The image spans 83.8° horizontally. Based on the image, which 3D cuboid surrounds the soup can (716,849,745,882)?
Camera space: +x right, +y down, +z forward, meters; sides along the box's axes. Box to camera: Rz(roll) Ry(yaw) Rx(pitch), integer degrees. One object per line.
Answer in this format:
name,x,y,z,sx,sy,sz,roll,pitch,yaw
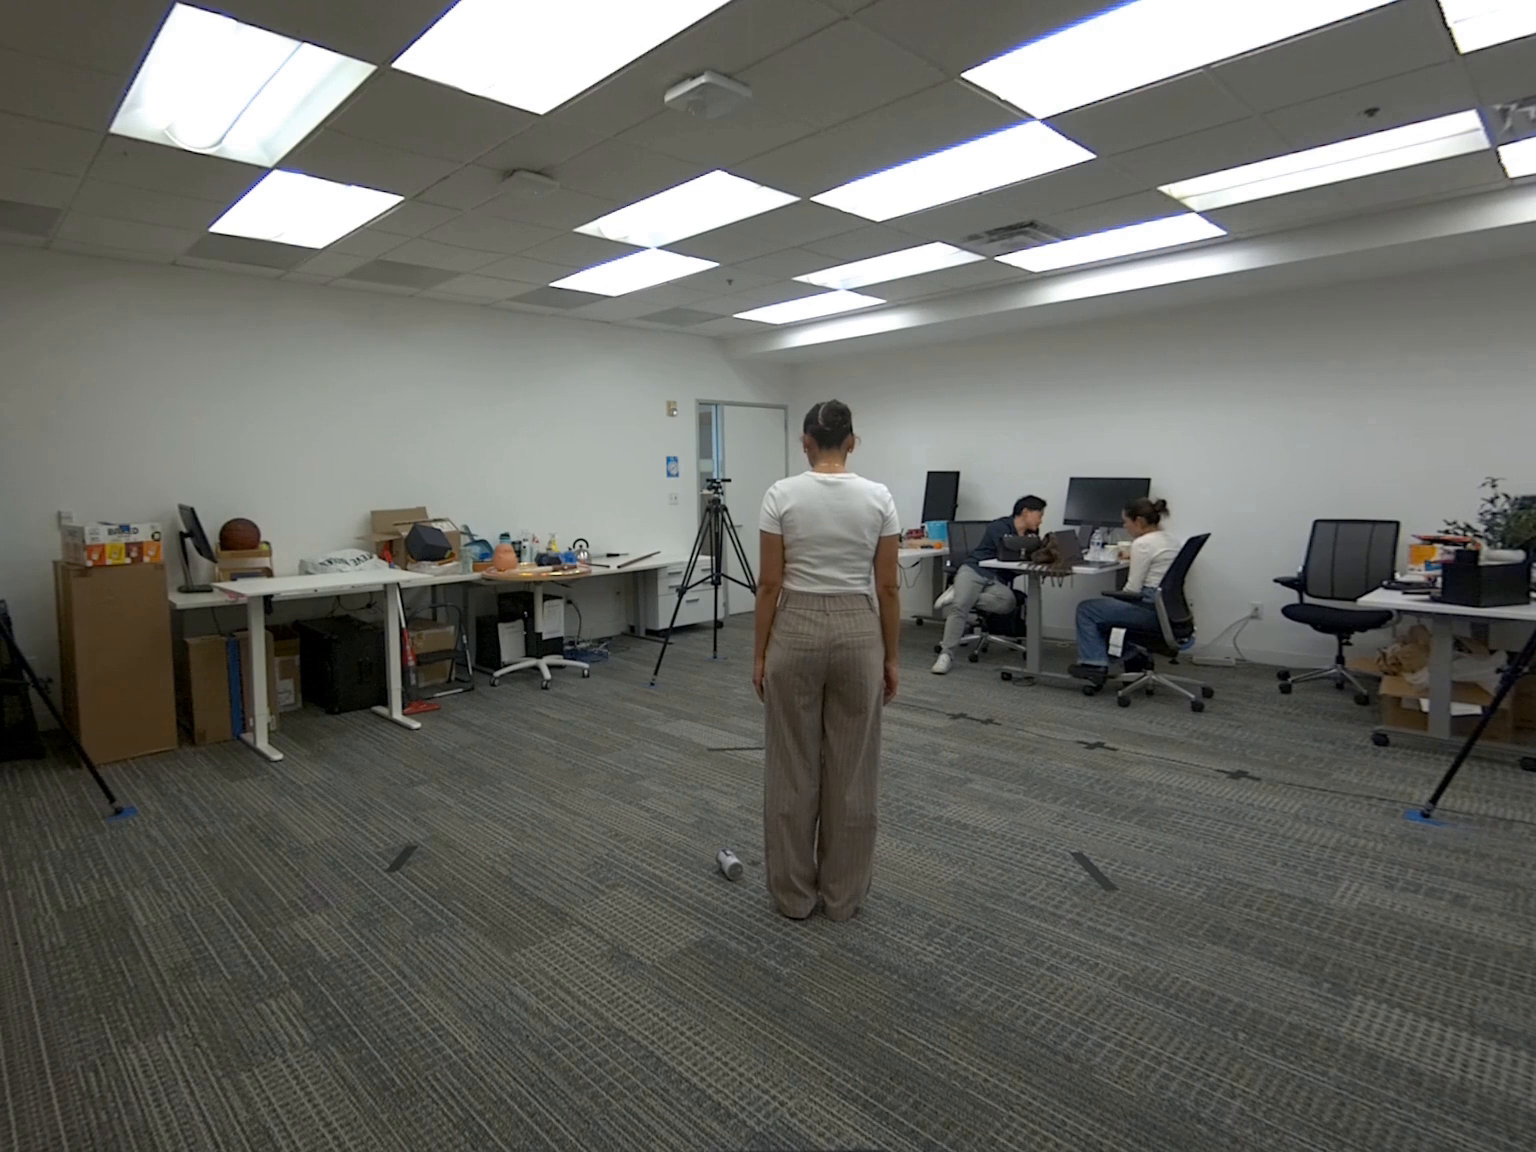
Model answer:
soup can,-0.132,1.015,3.027,0.066,0.067,0.124,-3,5,-20
